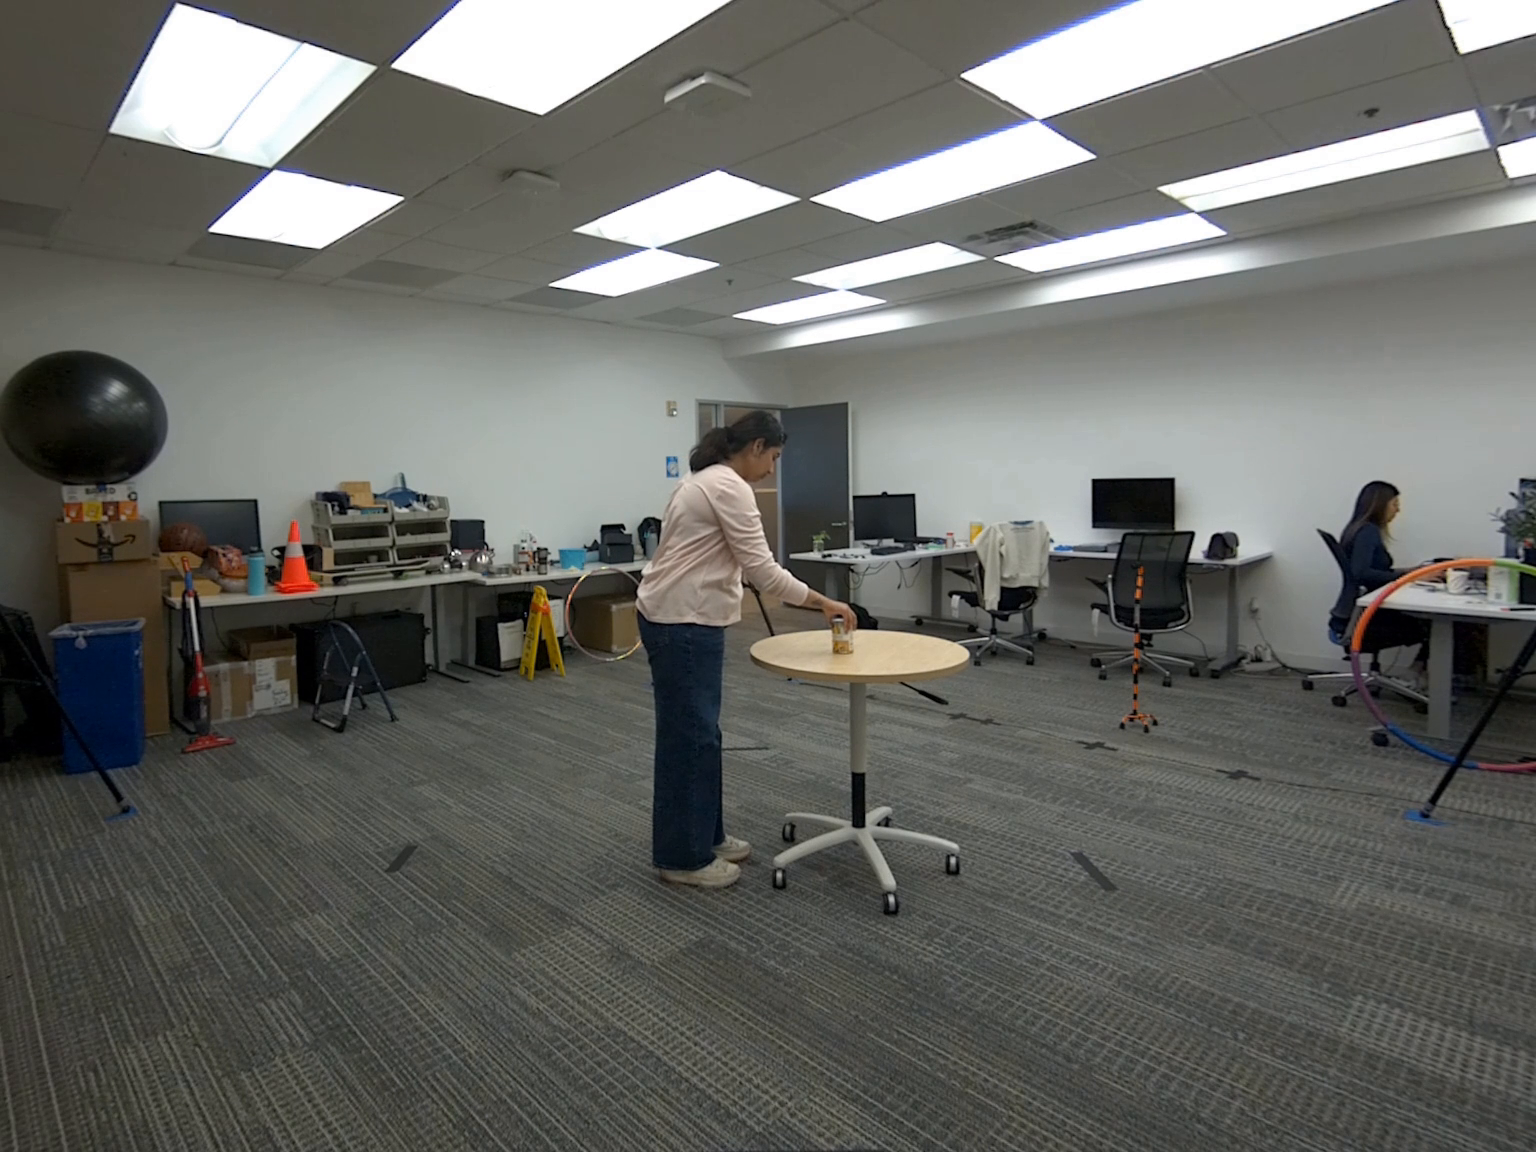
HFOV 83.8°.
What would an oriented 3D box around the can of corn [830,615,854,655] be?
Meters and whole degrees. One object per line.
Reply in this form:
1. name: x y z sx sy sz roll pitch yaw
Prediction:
1. can of corn: 0.261 0.209 2.987 0.074 0.110 0.075 -4 9 -1
